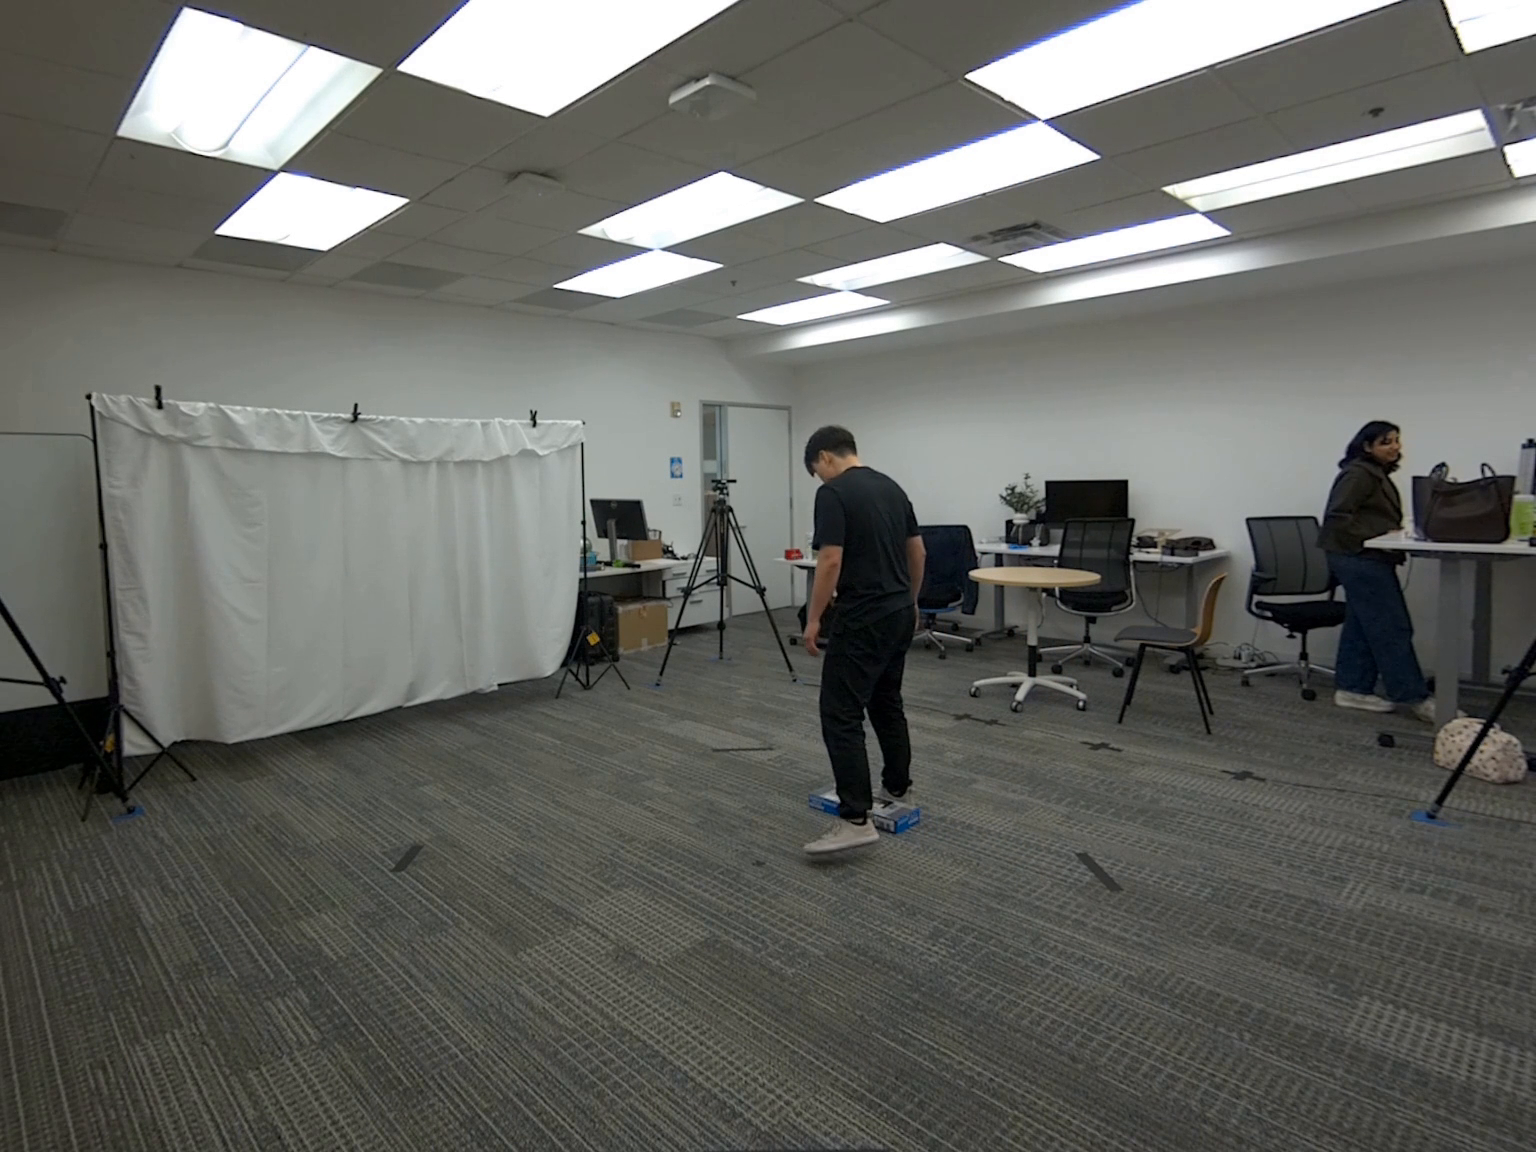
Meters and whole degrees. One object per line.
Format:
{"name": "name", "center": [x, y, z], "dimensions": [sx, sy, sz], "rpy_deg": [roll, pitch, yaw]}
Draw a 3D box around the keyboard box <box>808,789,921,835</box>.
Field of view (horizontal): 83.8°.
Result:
{"name": "keyboard box", "center": [0.393, 0.961, 3.550], "dimensions": [0.450, 0.059, 0.171], "rpy_deg": [5, 9, 43]}
